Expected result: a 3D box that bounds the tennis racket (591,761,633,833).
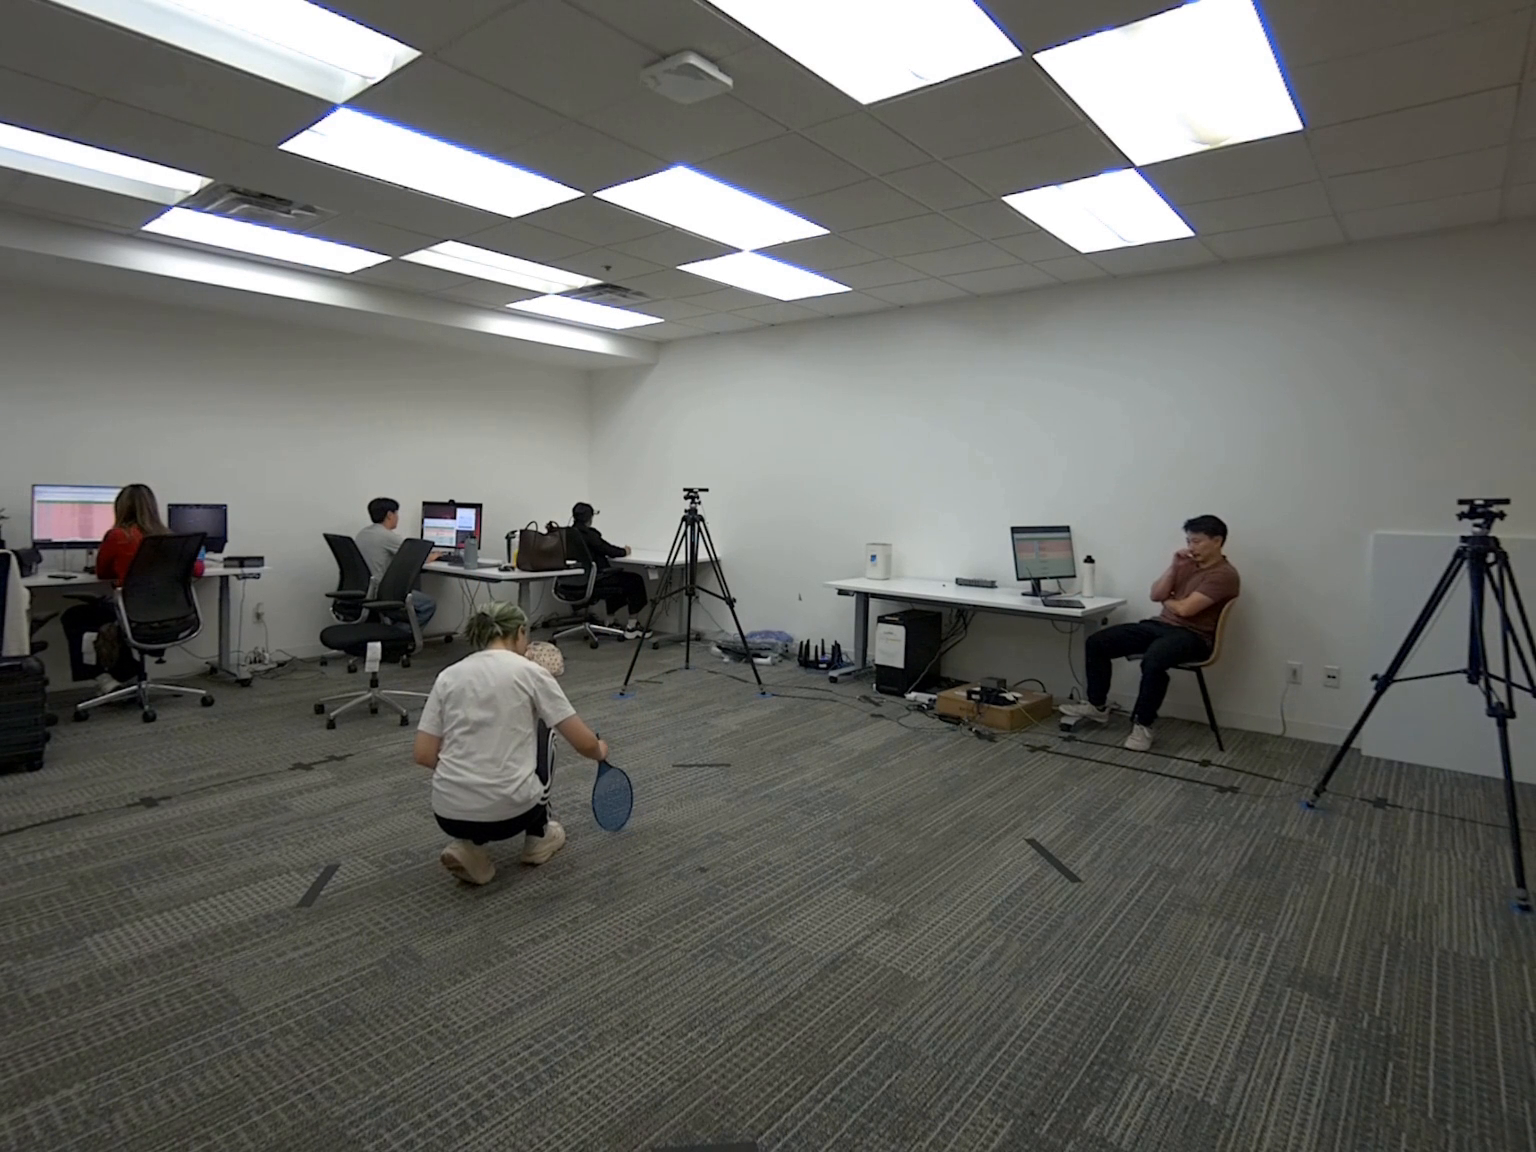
[{"bbox_3d":[-0.655,0.823,3.407,0.033,0.425,0.211,-1,20,37],"label":"tennis racket"}]
